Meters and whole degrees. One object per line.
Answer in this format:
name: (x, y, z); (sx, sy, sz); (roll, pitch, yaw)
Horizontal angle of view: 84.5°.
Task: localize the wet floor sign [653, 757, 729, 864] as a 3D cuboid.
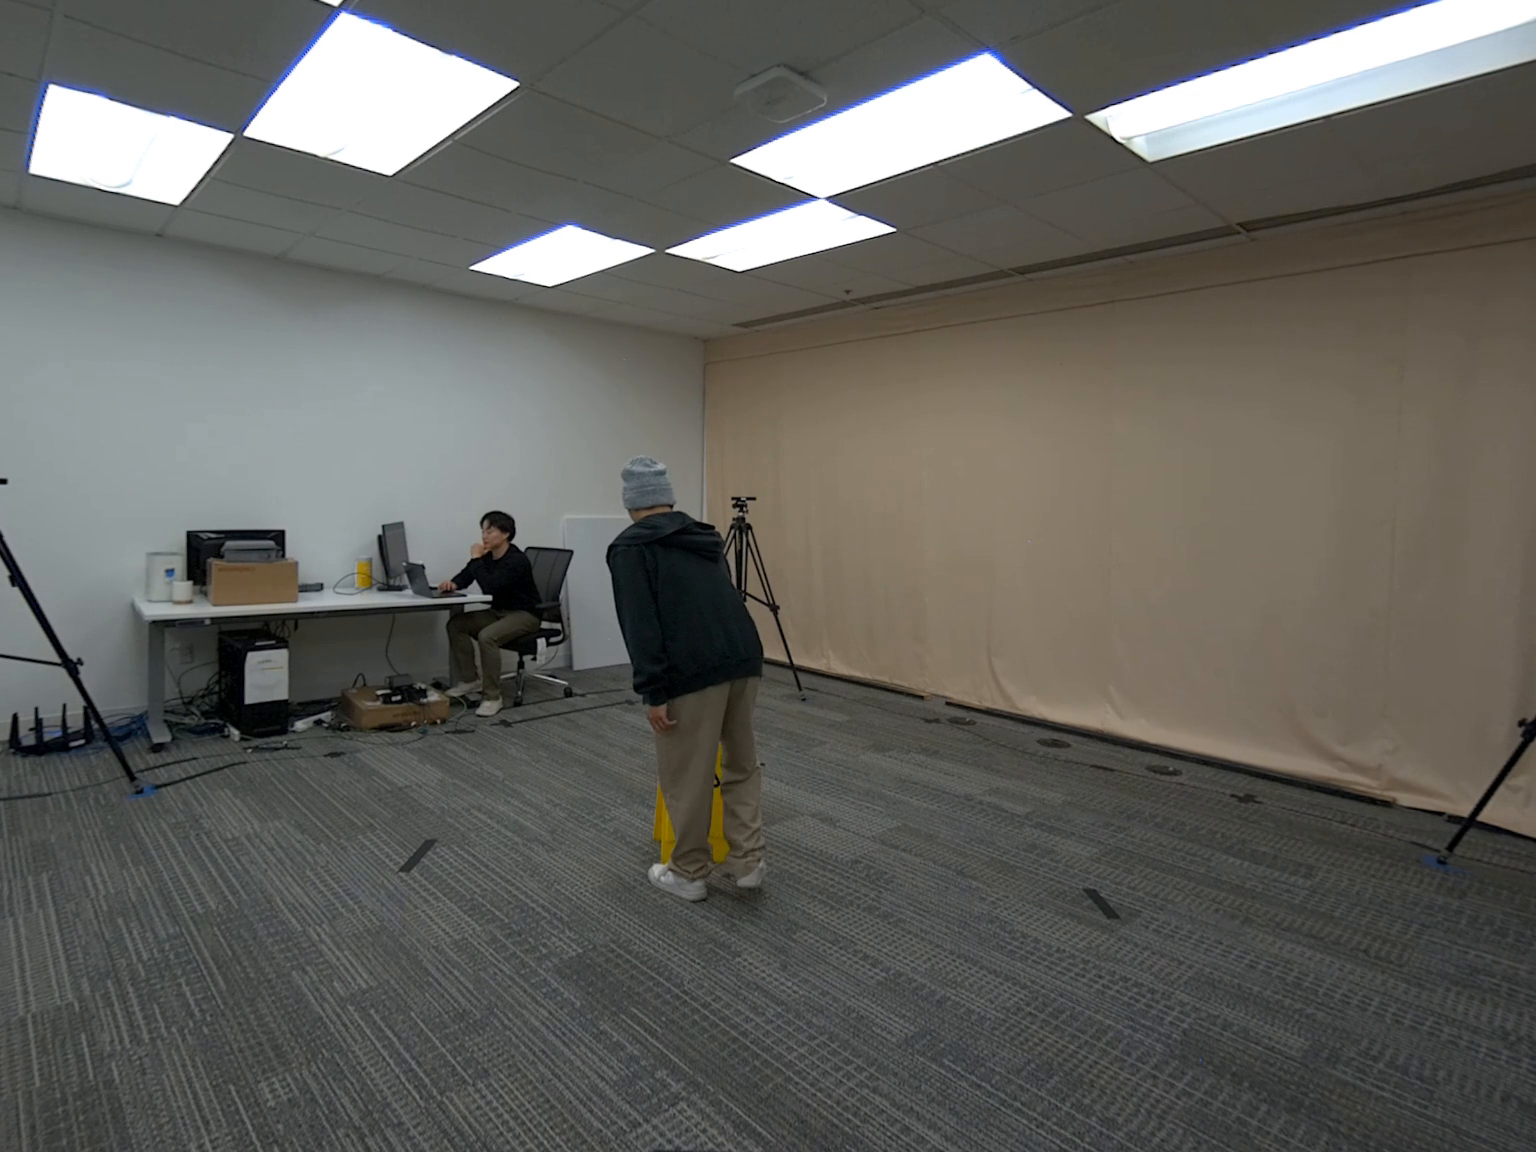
wet floor sign: (-0.301, 0.762, 3.308); (0.279, 0.645, 0.293); (2, 2, -12)
